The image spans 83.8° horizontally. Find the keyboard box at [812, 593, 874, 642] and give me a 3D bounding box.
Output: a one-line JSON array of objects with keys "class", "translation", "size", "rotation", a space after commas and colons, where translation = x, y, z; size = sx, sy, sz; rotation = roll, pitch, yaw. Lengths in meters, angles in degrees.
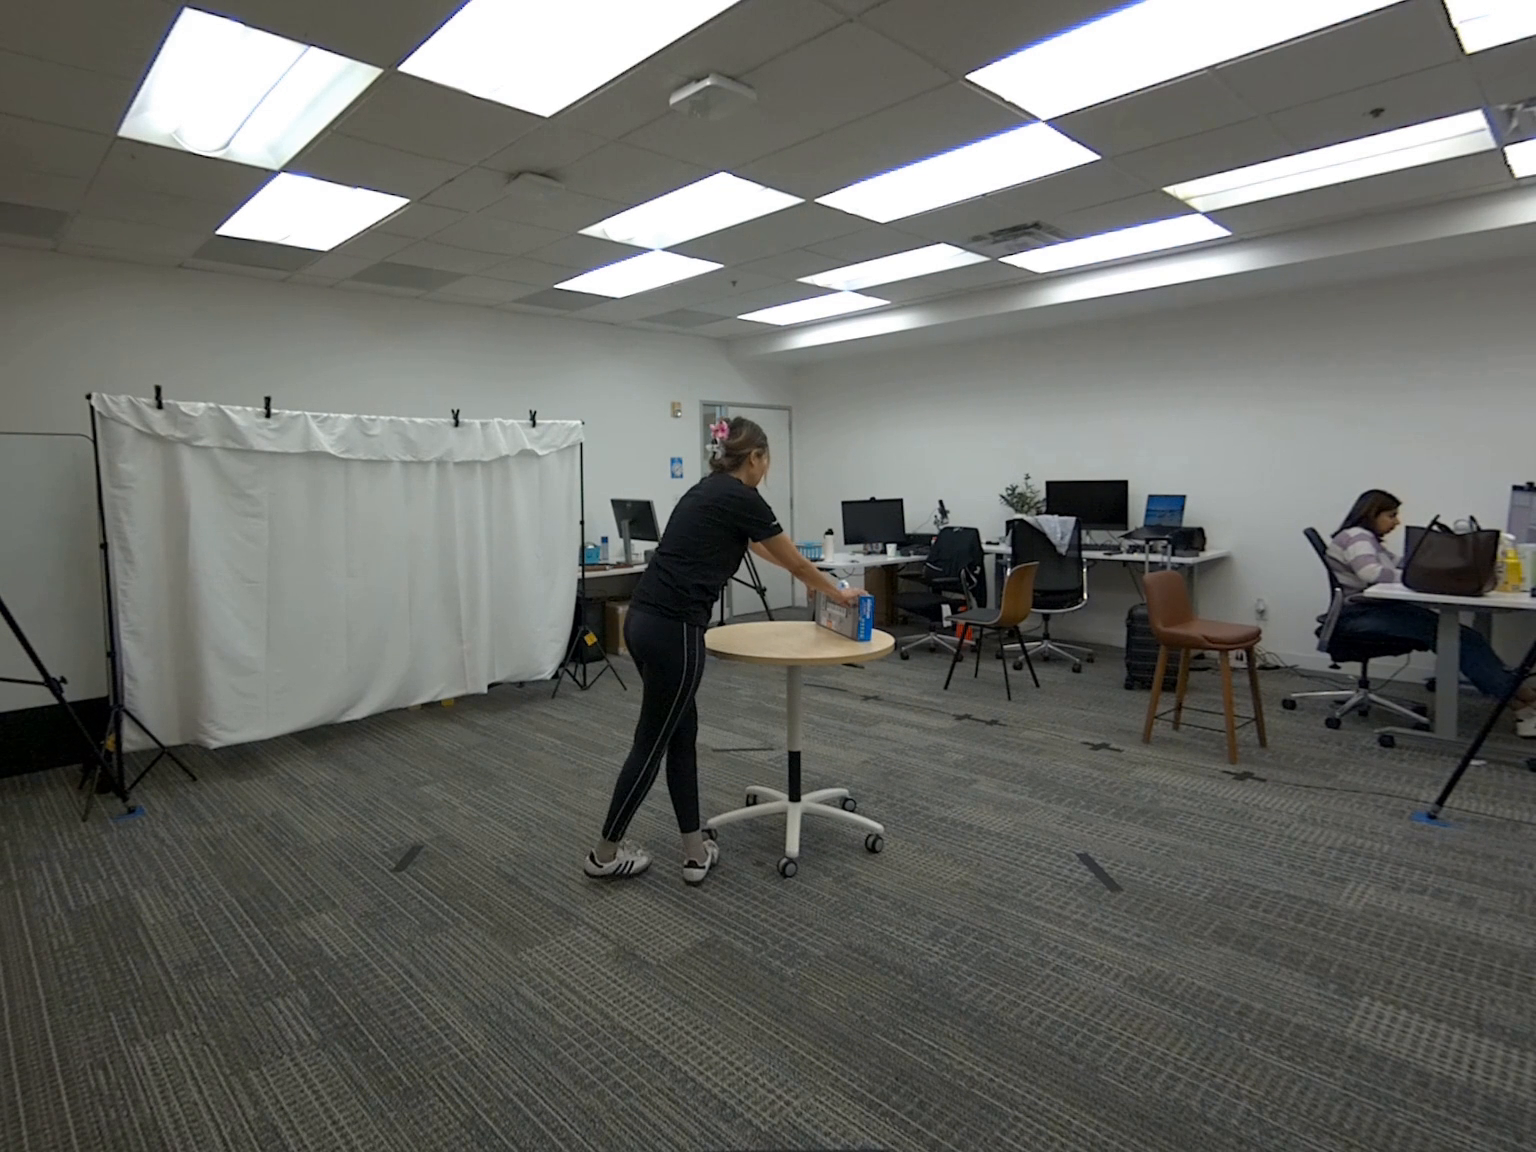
[{"class": "keyboard box", "translation": [0.298, 0.137, 3.418], "size": [0.058, 0.175, 0.445], "rotation": [3, 5, -17]}]
